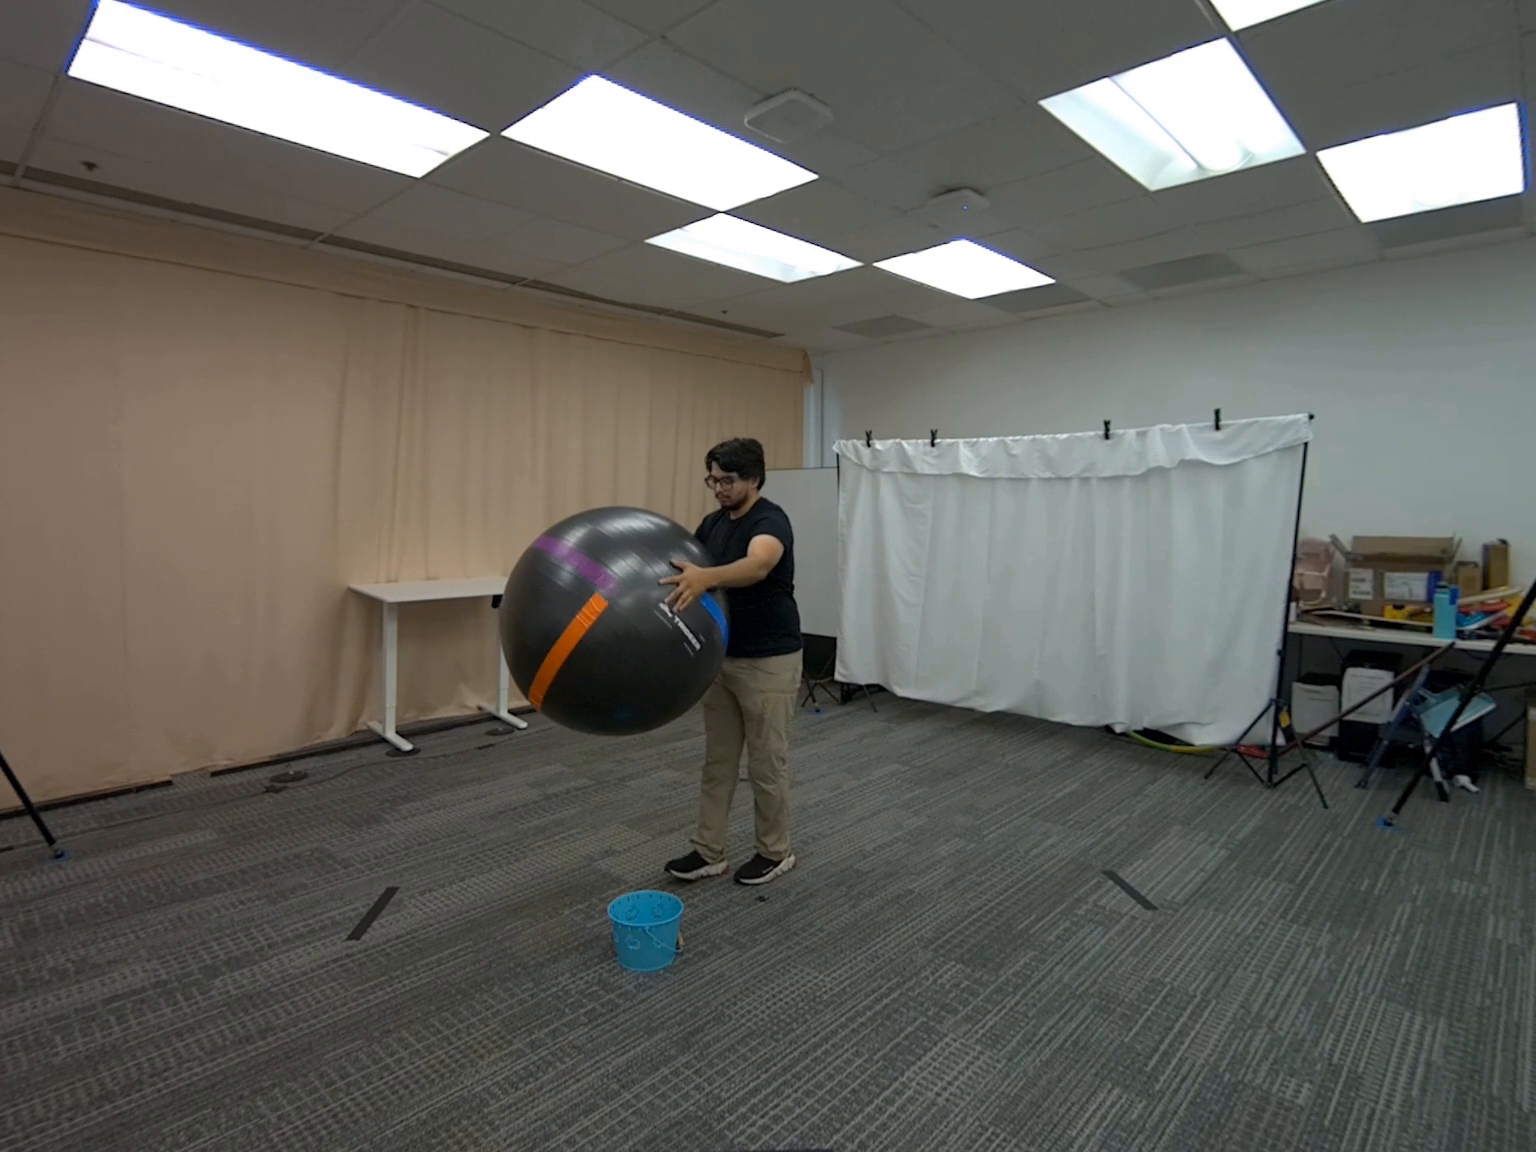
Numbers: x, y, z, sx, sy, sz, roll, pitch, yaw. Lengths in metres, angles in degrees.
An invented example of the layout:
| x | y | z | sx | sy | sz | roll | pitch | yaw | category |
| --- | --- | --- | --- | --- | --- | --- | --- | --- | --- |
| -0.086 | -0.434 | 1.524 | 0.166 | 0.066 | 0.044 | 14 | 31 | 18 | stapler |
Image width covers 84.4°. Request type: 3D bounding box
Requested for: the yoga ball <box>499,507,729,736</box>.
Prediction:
| x | y | z | sx | sy | sz | roll | pitch | yaw | category |
| --- | --- | --- | --- | --- | --- | --- | --- | --- | --- |
| -0.515 | 0.148 | 2.799 | 0.757 | 0.756 | 0.760 | 0 | 4 | -2 | yoga ball |
